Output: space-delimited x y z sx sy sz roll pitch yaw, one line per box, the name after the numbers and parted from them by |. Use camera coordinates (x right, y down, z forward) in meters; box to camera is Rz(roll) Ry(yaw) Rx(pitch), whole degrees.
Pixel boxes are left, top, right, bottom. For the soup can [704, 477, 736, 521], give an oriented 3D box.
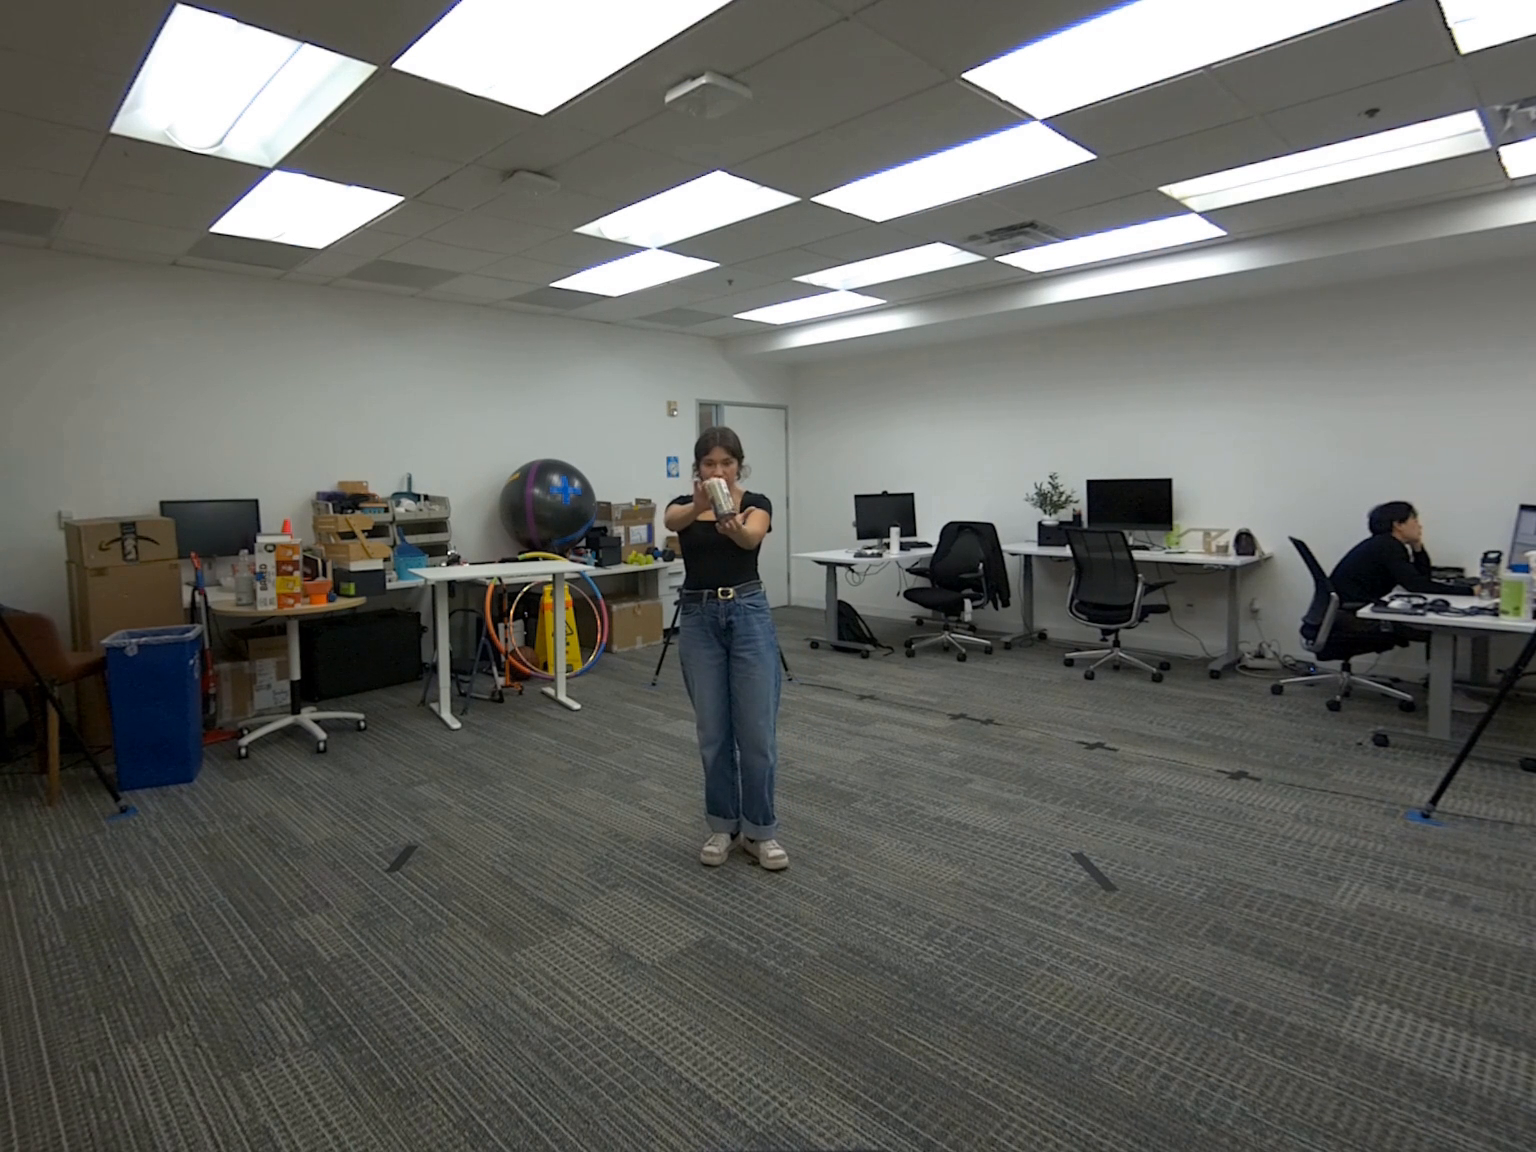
-0.147 -0.232 2.599 0.067 0.124 0.066 -12 -16 -5 | soup can
